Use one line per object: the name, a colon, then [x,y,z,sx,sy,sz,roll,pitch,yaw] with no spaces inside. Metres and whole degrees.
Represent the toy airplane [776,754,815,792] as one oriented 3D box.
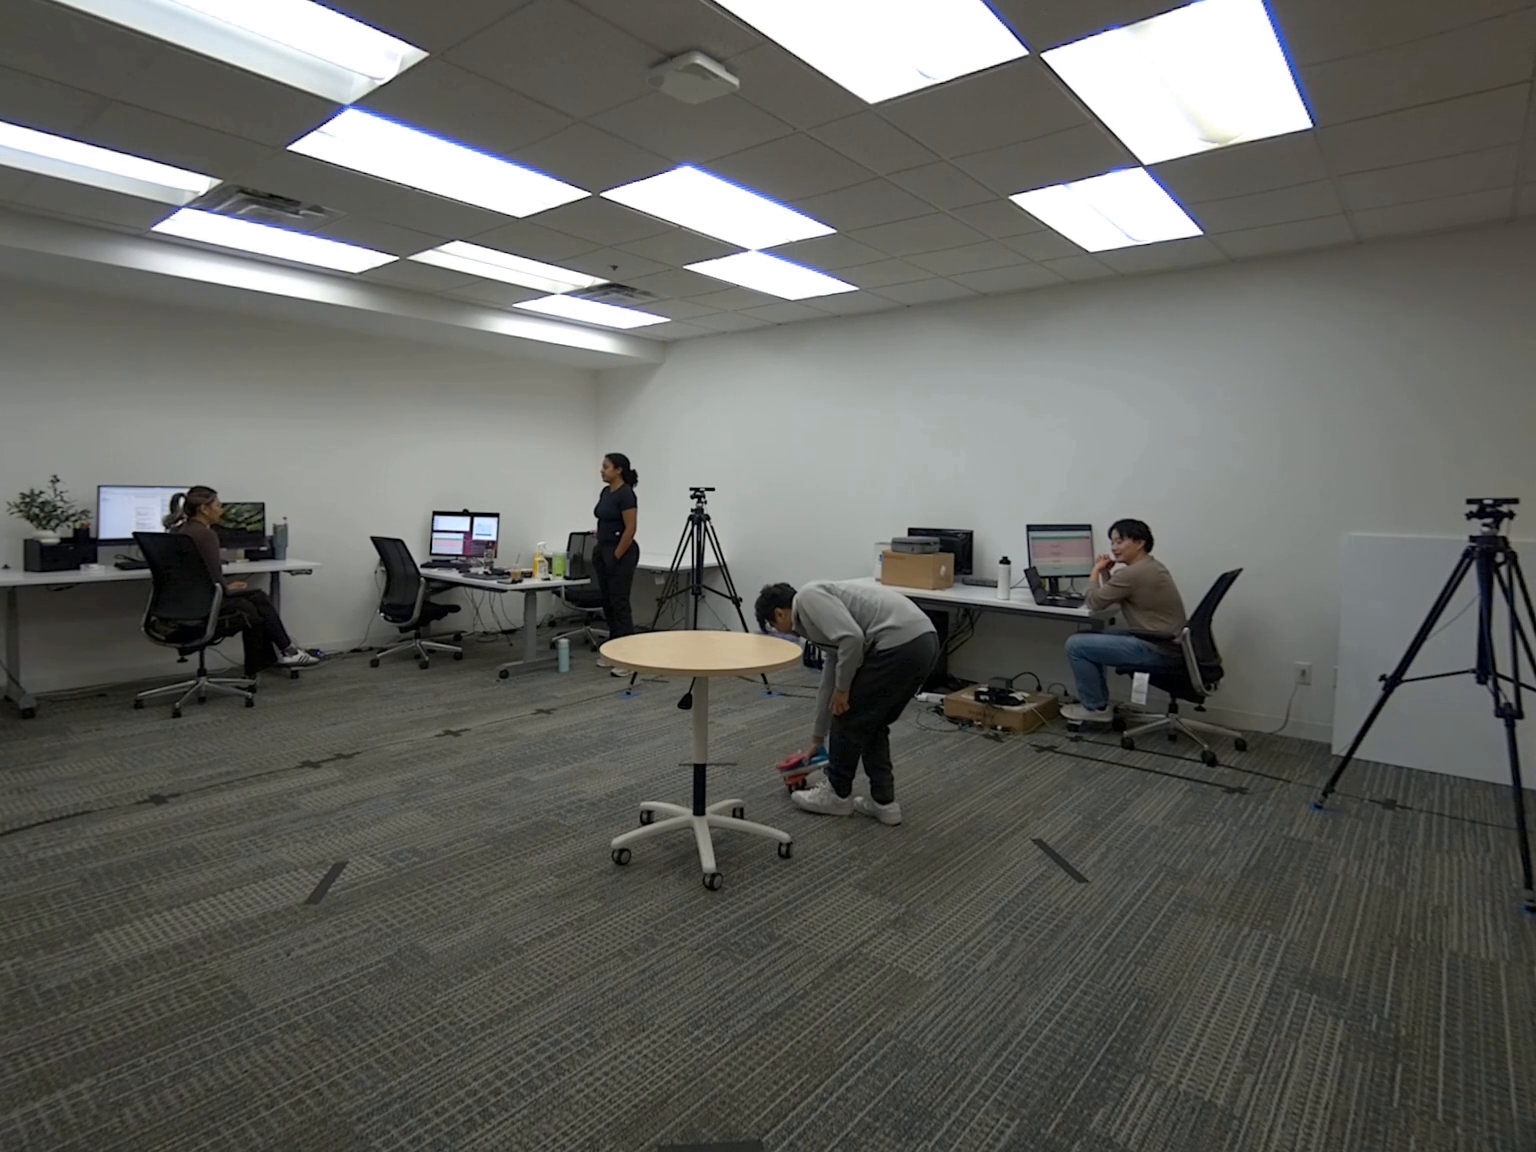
toy airplane: [0.167,0.880,3.935,0.258,0.159,0.248,-31,-10,-7]
